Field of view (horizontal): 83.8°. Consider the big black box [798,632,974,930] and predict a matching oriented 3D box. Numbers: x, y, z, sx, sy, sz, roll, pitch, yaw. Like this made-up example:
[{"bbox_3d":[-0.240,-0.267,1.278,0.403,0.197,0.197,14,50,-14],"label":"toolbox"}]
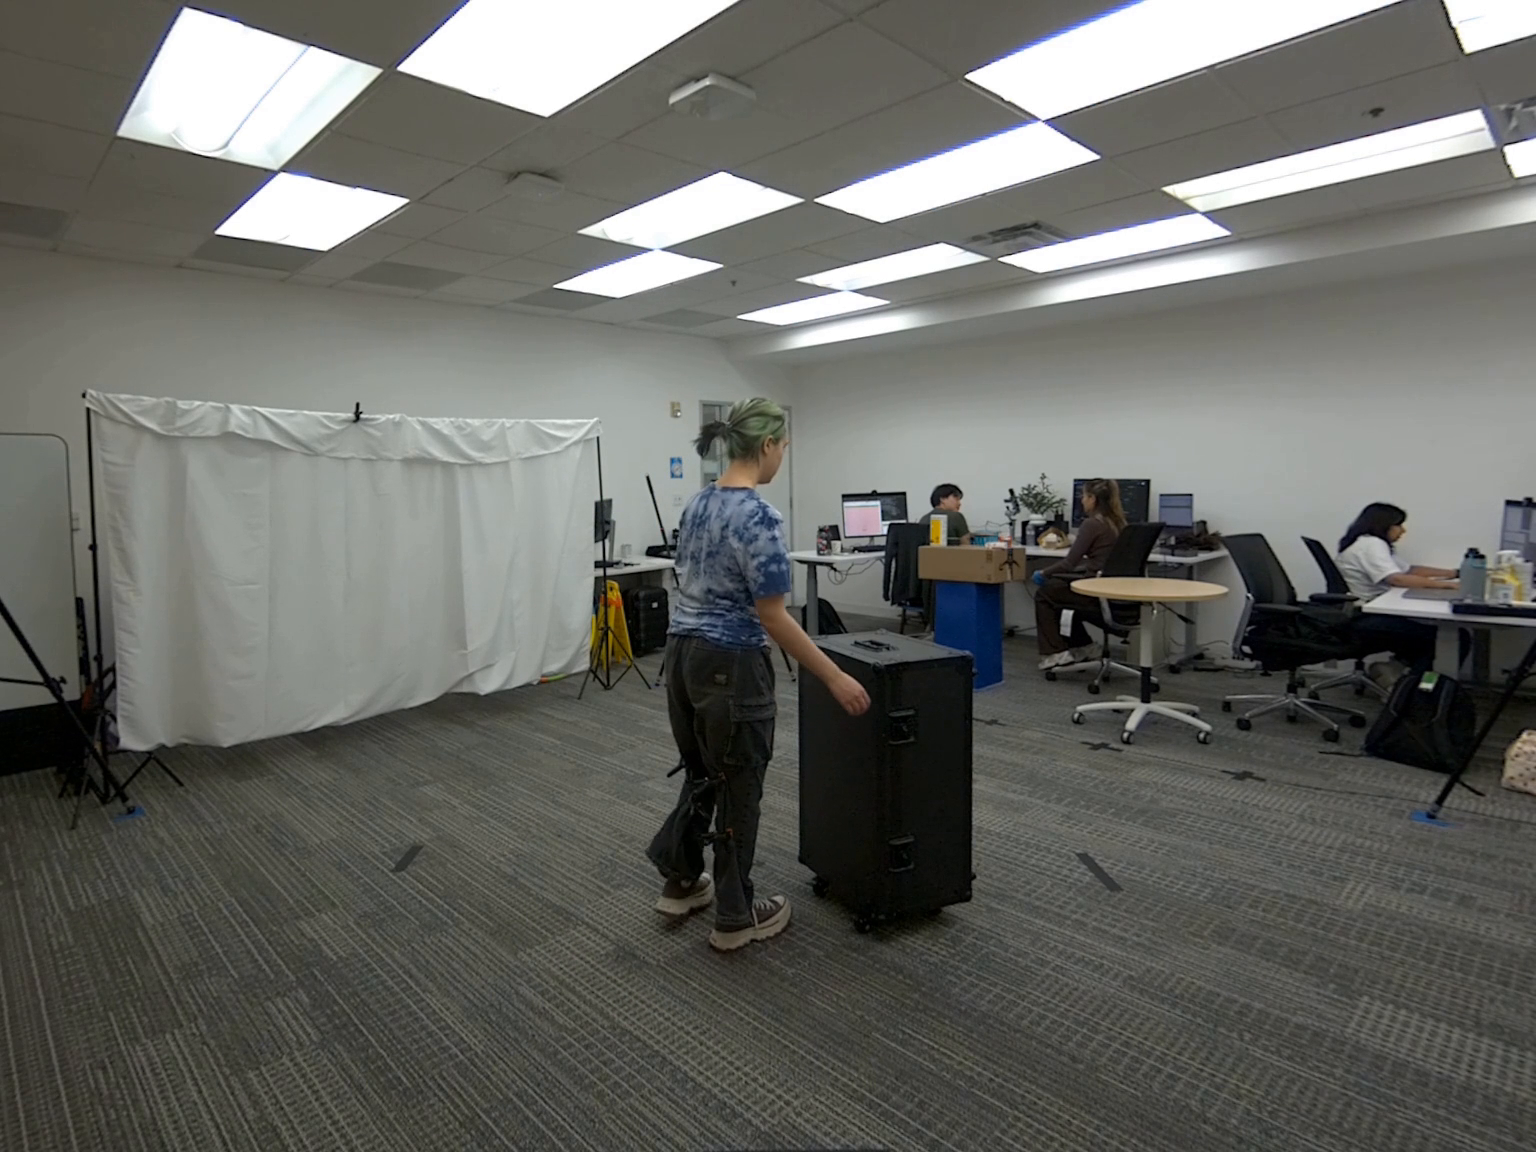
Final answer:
[{"bbox_3d":[0.380,0.652,2.808,0.387,0.859,0.534,-1,4,-26],"label":"big black box"}]
